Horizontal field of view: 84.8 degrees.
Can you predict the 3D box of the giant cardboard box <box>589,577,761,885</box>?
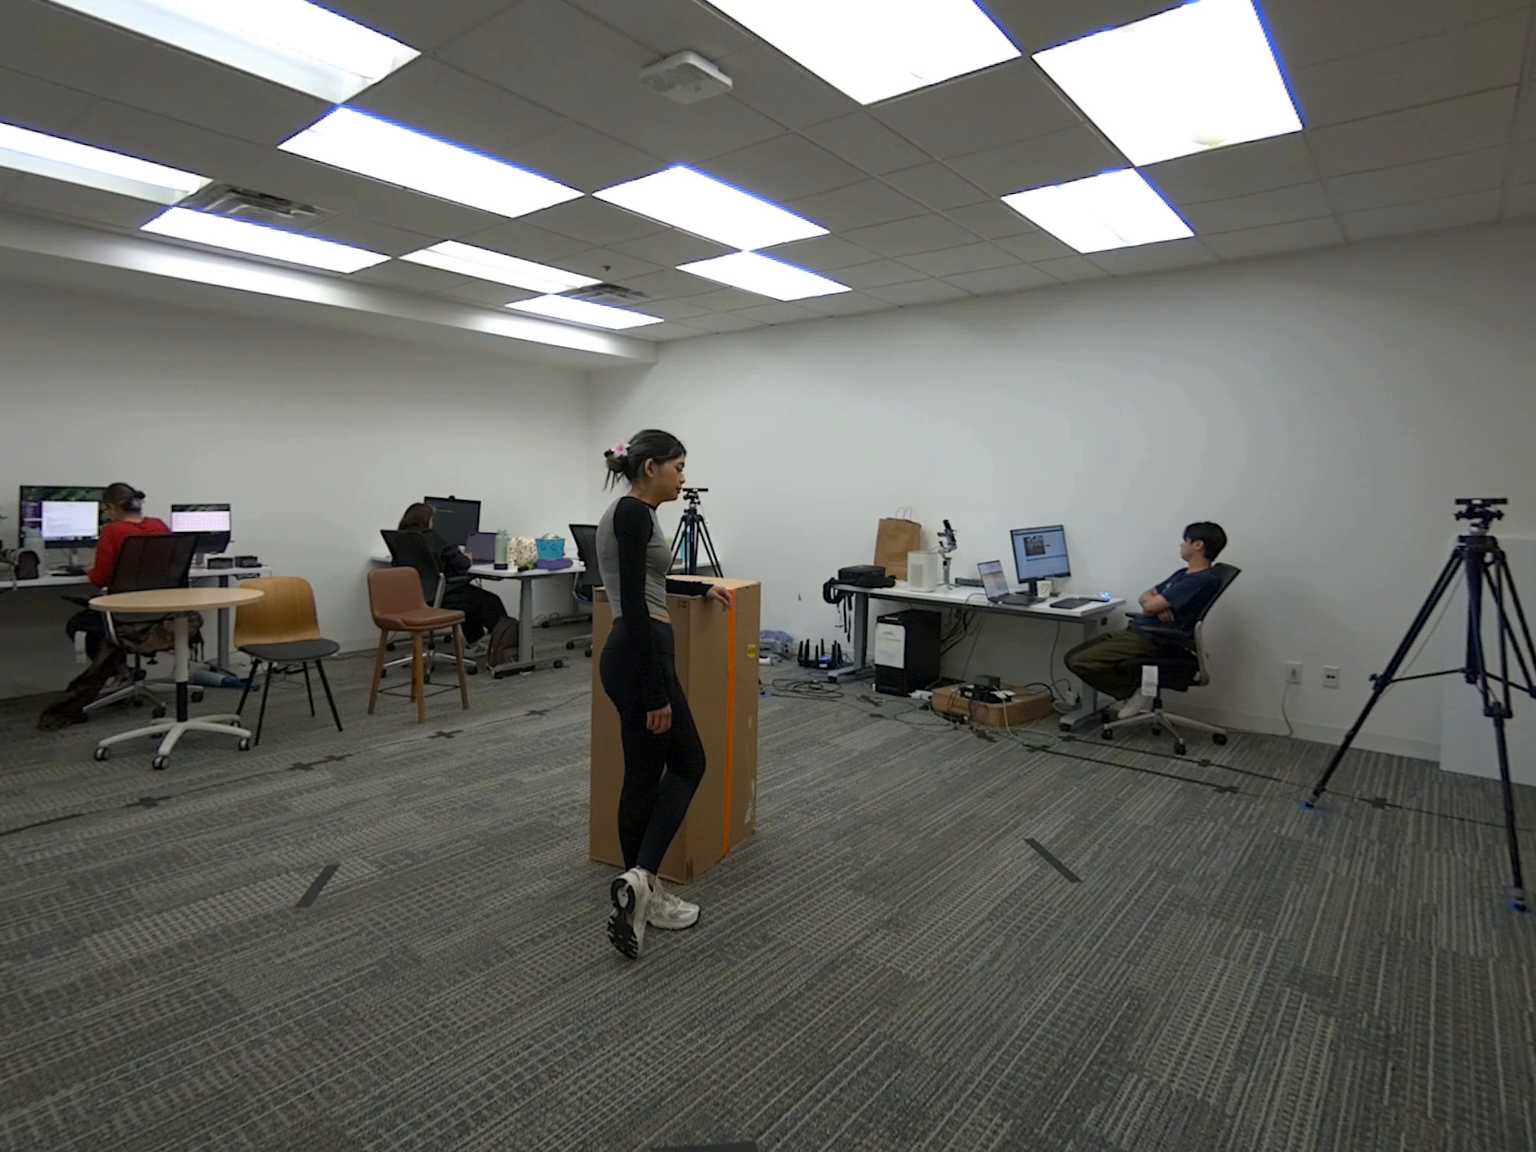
[{"bbox_3d":[-0.356,0.539,3.303,0.438,1.022,0.564,3,4,27],"label":"giant cardboard box"}]
